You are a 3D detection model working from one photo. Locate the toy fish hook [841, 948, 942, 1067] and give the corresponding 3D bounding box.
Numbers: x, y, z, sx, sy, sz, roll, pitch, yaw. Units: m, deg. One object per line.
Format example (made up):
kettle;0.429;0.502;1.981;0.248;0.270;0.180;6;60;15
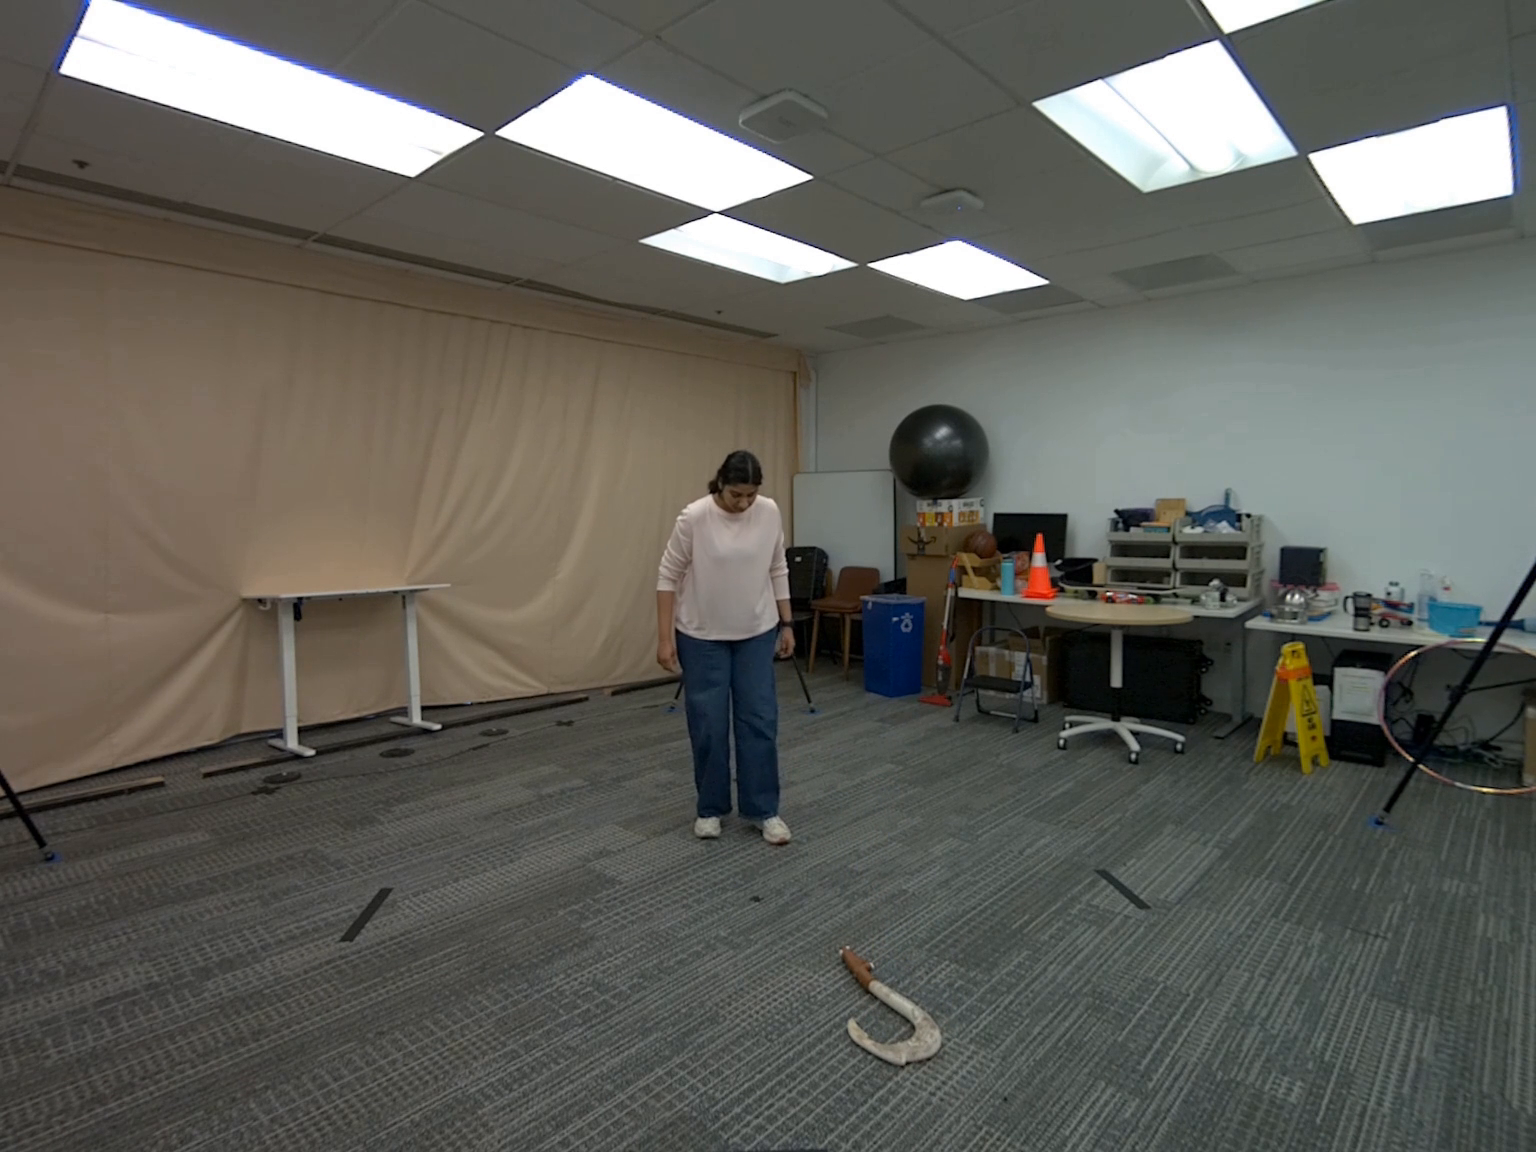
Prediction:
toy fish hook;0.284;1.176;2.333;0.220;0.048;0.518;-1;5;-21
